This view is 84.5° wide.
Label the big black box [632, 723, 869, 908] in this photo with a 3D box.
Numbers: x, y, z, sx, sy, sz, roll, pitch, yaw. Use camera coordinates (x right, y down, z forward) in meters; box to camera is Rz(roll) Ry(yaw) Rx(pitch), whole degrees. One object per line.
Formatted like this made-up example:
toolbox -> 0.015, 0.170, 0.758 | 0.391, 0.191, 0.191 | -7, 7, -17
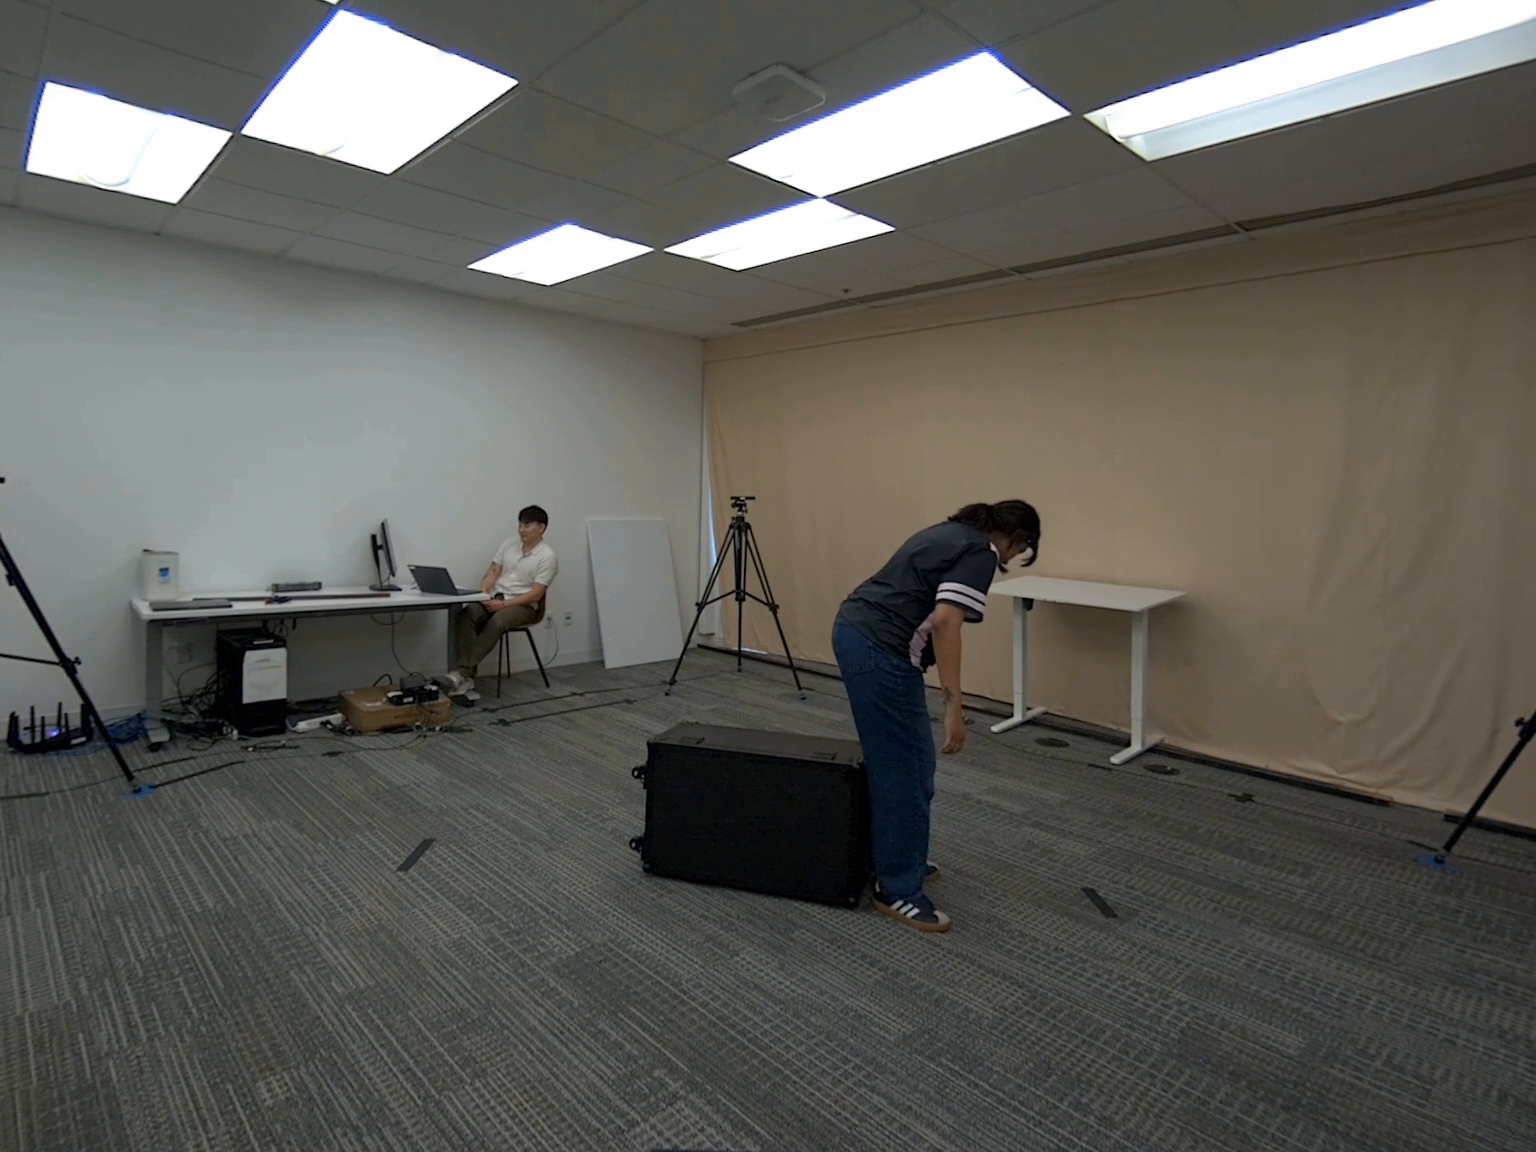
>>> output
big black box -> -0.067, 0.843, 3.136 | 0.881, 0.522, 0.380 | 3, 3, 18
